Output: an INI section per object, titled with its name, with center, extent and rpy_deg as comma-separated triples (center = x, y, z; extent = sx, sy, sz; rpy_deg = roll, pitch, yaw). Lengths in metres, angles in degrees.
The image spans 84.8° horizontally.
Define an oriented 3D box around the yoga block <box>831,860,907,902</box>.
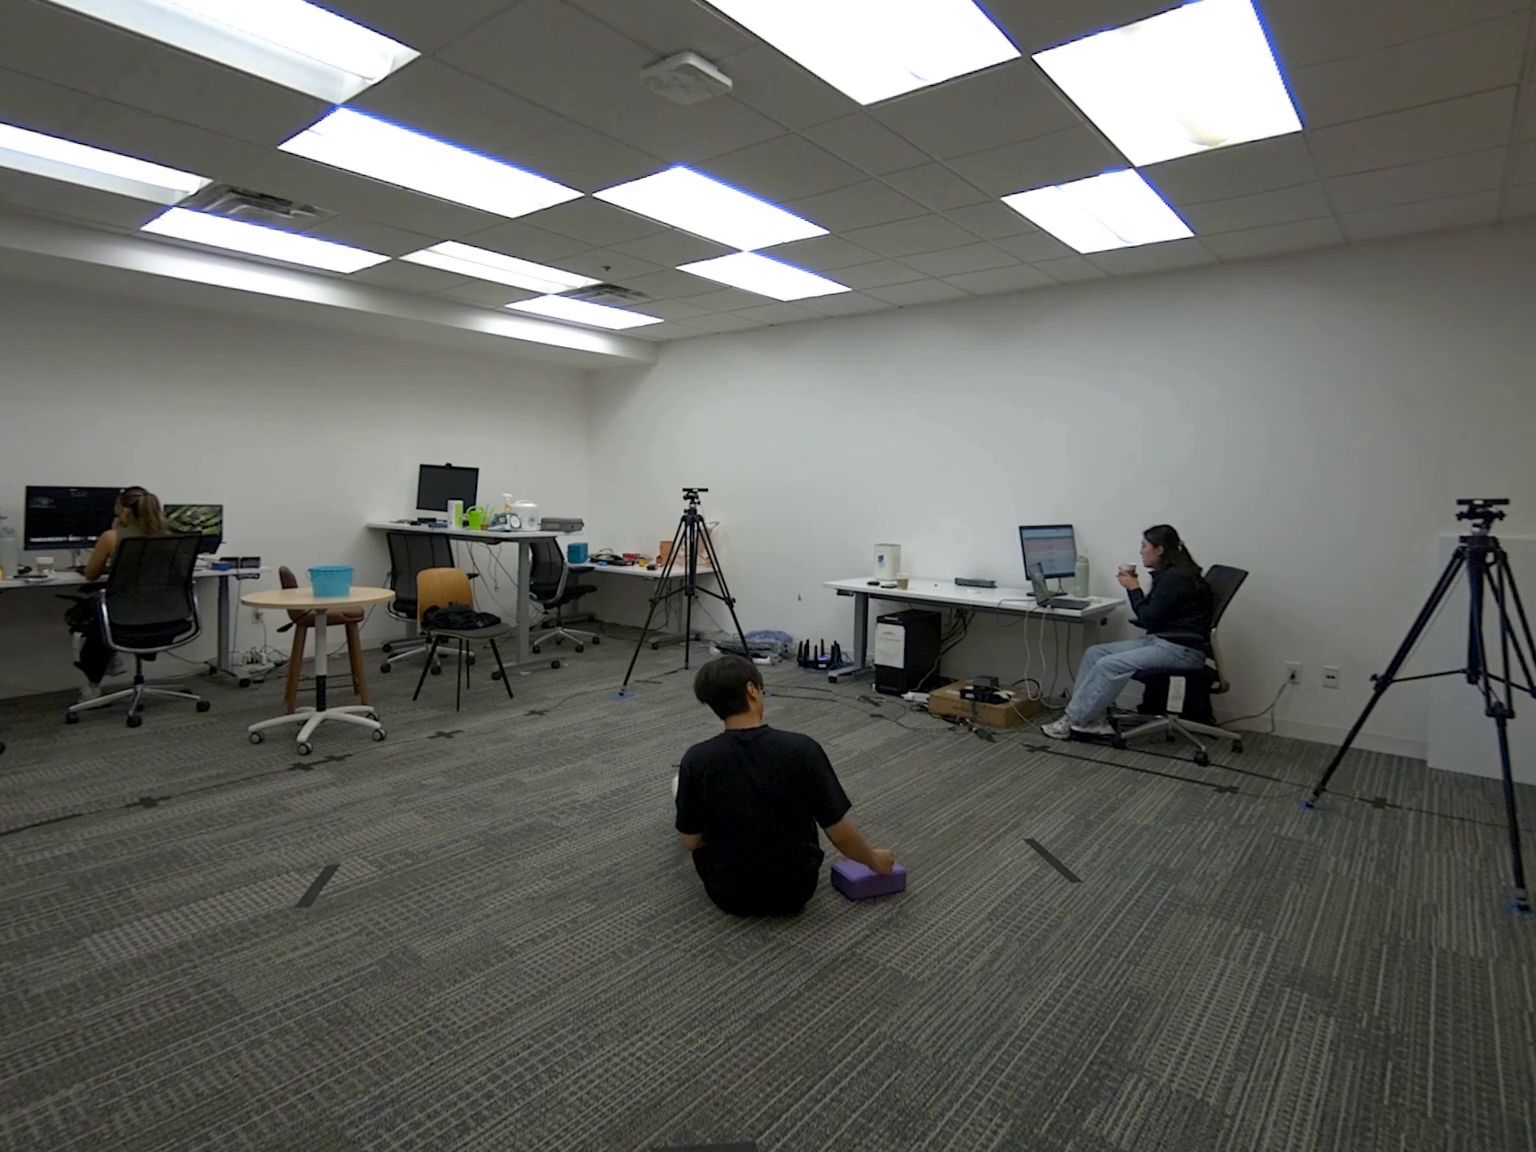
[yoga block]
center = 0.348, 1.056, 2.985
extent = 0.224, 0.076, 0.153
rpy_deg = -1, 4, -26
